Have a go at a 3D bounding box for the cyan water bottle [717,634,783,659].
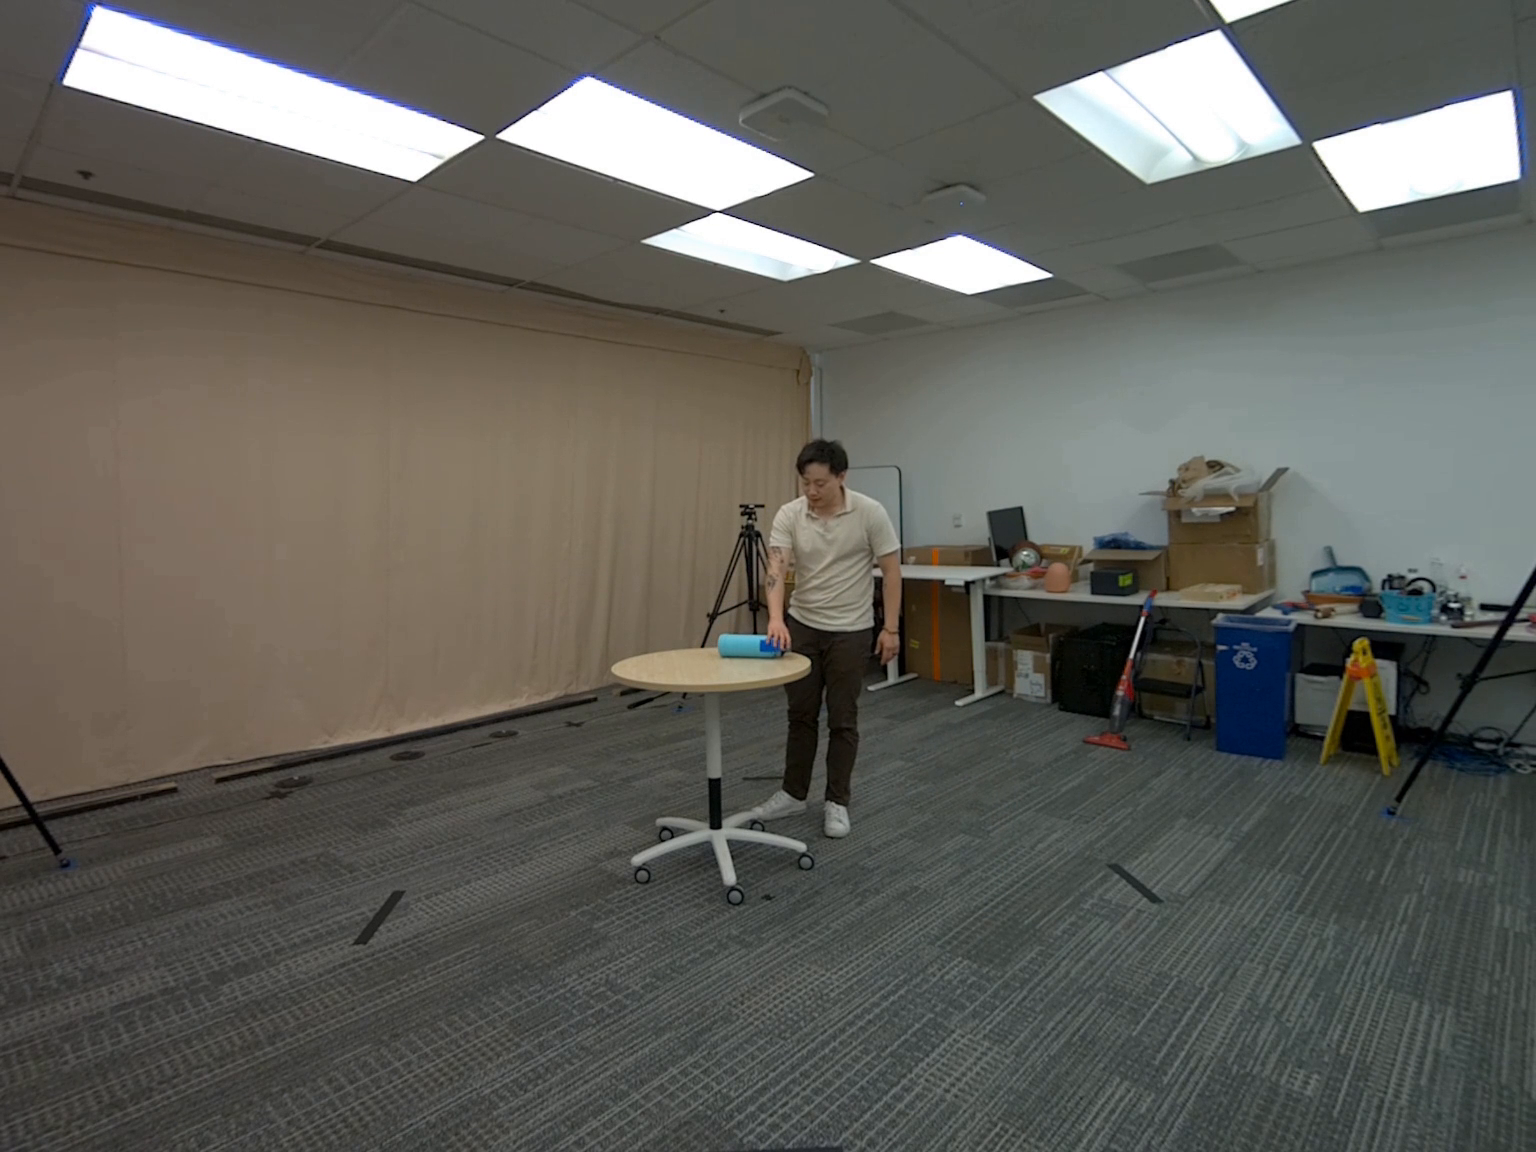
[{"bbox_3d":[-0.064,0.283,3.357,0.289,0.092,0.091,0,4,17],"label":"cyan water bottle"}]
